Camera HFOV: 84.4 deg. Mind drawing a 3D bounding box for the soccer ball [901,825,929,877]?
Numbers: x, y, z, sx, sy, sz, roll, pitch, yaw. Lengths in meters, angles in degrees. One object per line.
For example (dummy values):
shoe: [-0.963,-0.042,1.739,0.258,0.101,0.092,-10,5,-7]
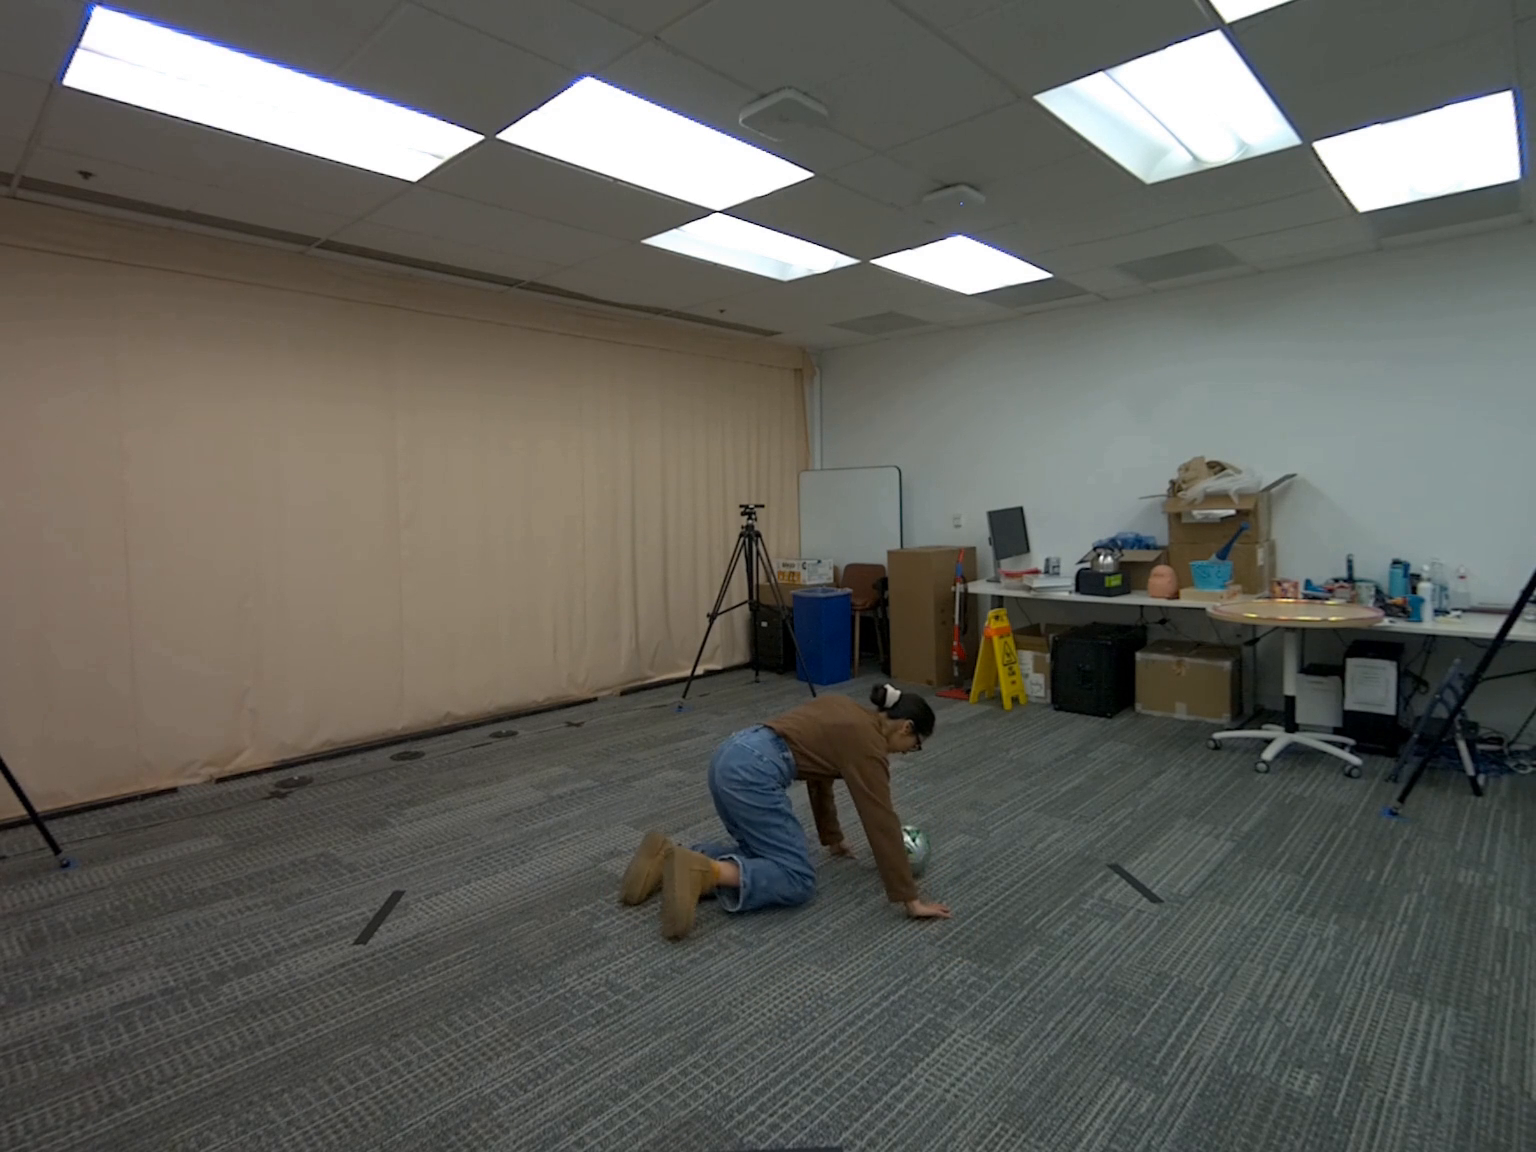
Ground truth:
soccer ball: [0.521,1.029,3.140,0.187,0.187,0.188,-1,4,-2]
